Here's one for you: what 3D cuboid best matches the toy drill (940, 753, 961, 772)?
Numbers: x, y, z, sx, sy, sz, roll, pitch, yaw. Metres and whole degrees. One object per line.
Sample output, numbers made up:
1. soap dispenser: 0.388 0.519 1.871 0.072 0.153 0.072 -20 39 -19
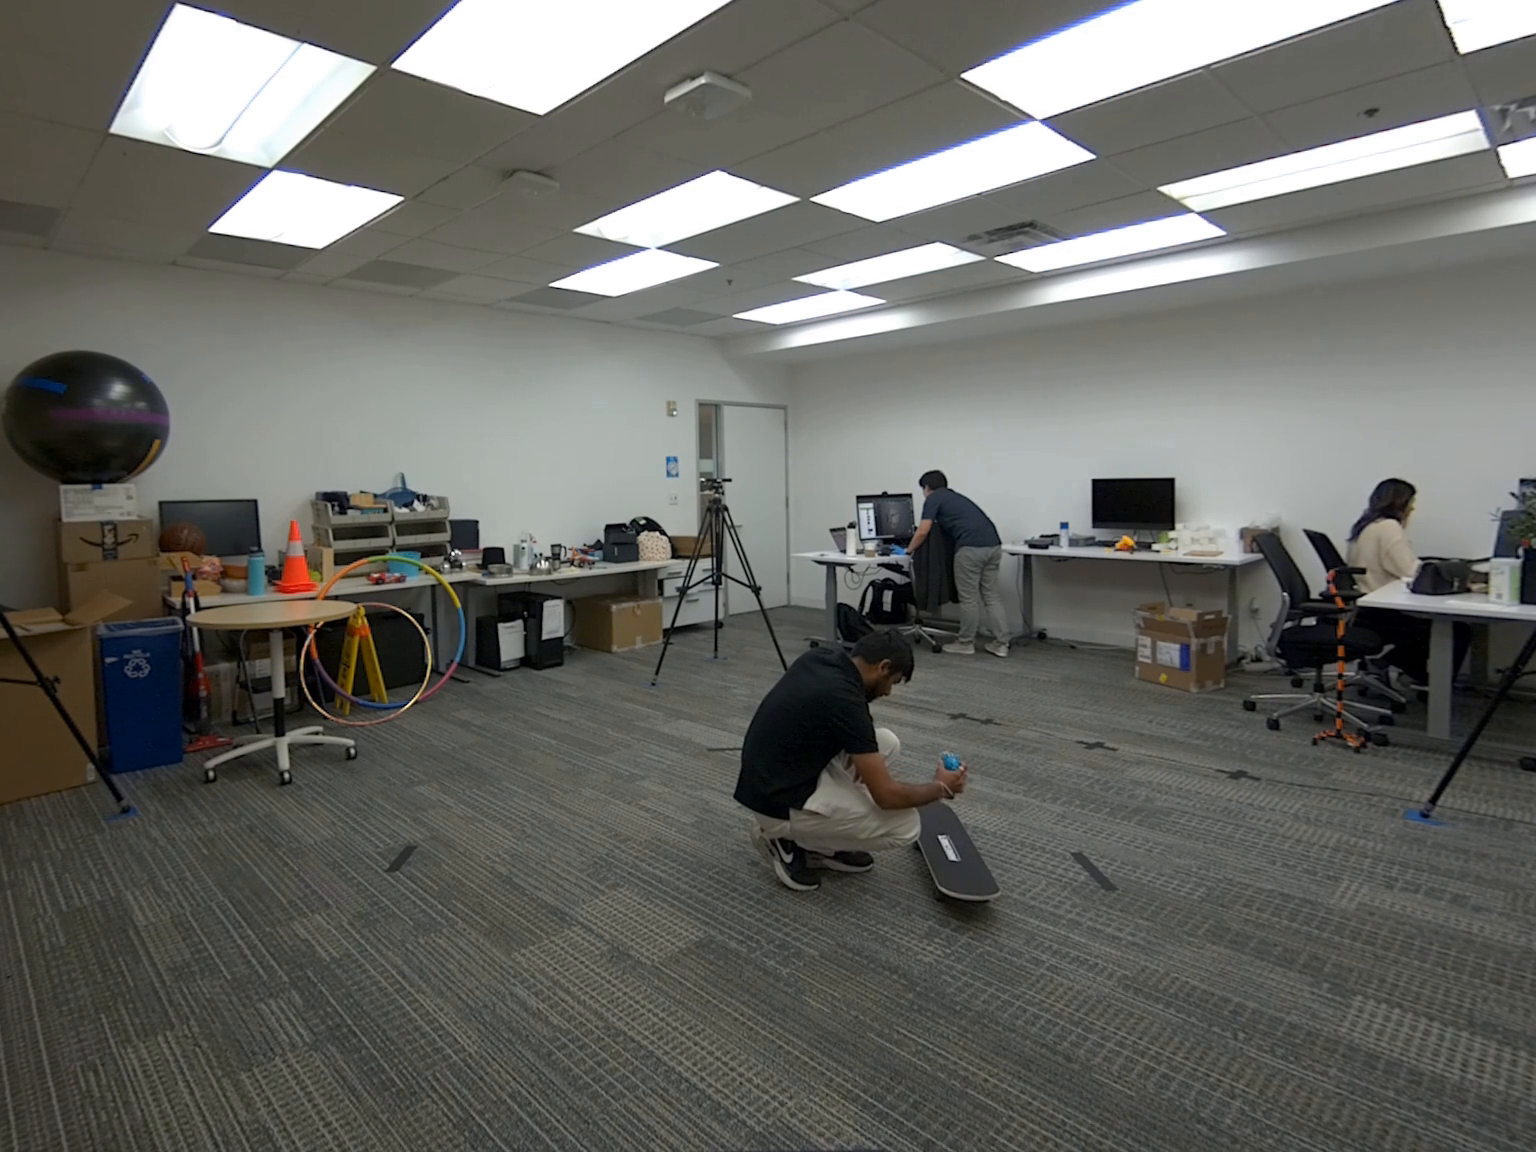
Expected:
1. toy drill: 0.652 0.701 3.058 0.061 0.145 0.171 1 9 0
